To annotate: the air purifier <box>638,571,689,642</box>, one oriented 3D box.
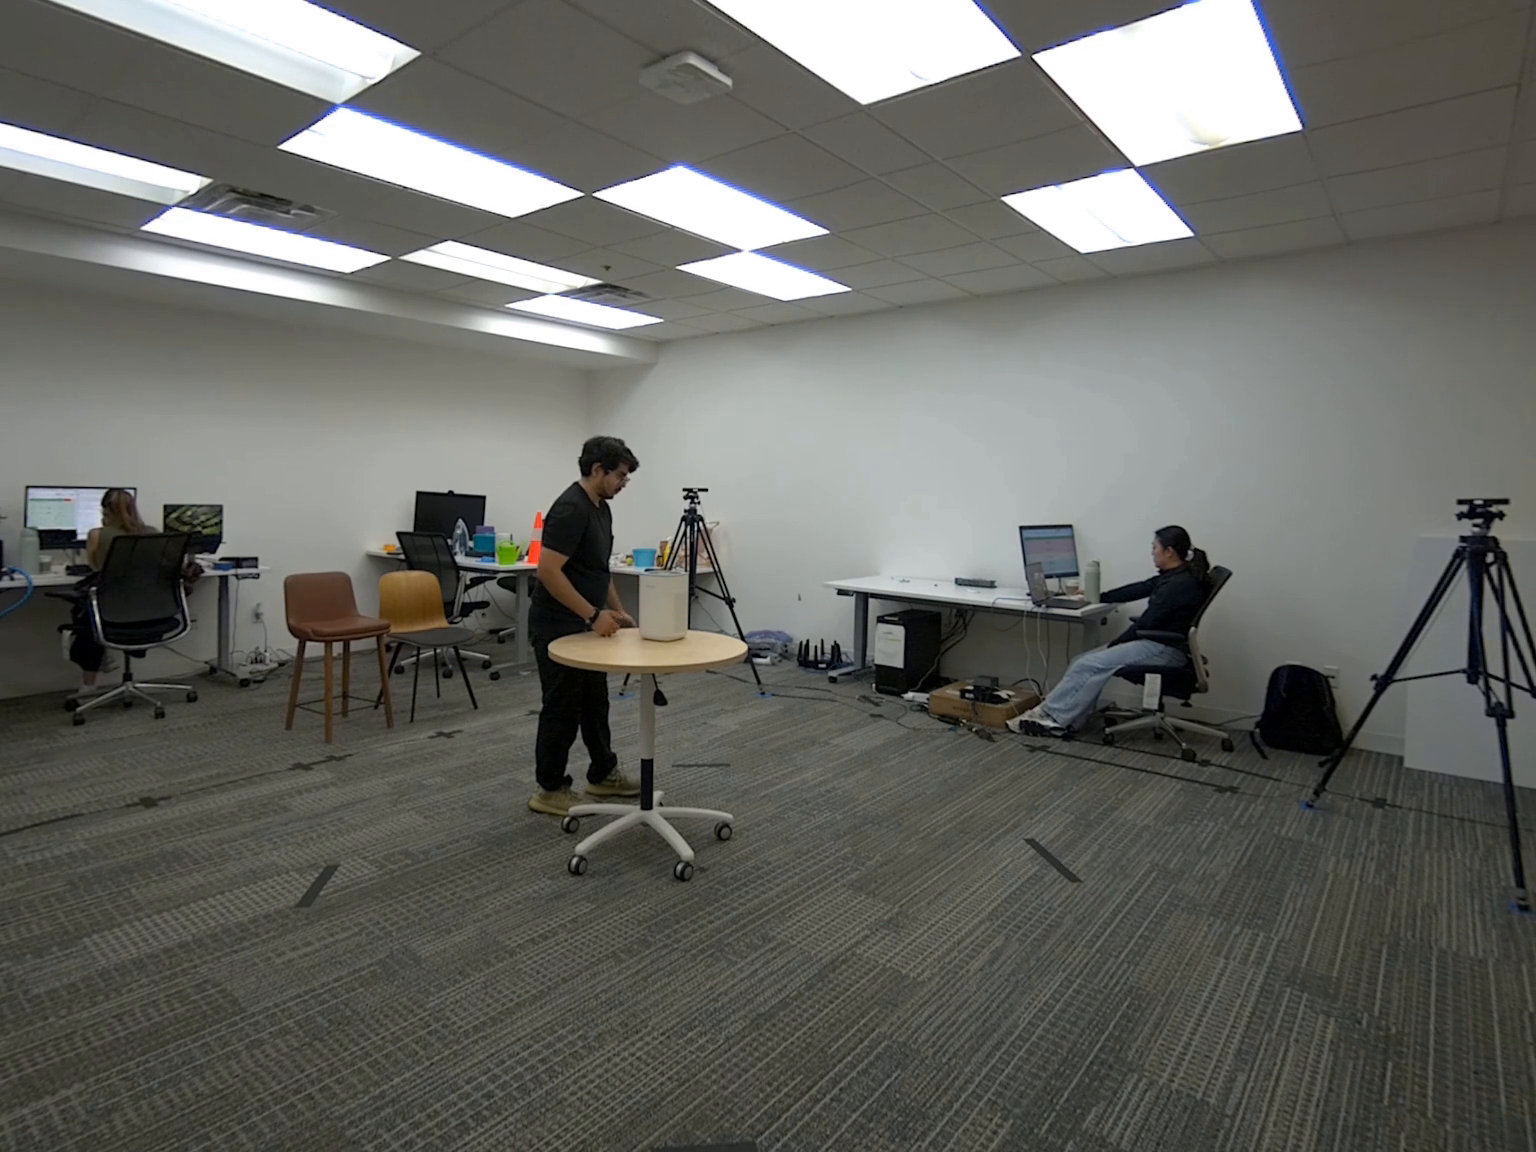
[{"bbox_3d":[-0.435,0.117,3.436,0.176,0.264,0.167,4,5,29],"label":"air purifier"}]
